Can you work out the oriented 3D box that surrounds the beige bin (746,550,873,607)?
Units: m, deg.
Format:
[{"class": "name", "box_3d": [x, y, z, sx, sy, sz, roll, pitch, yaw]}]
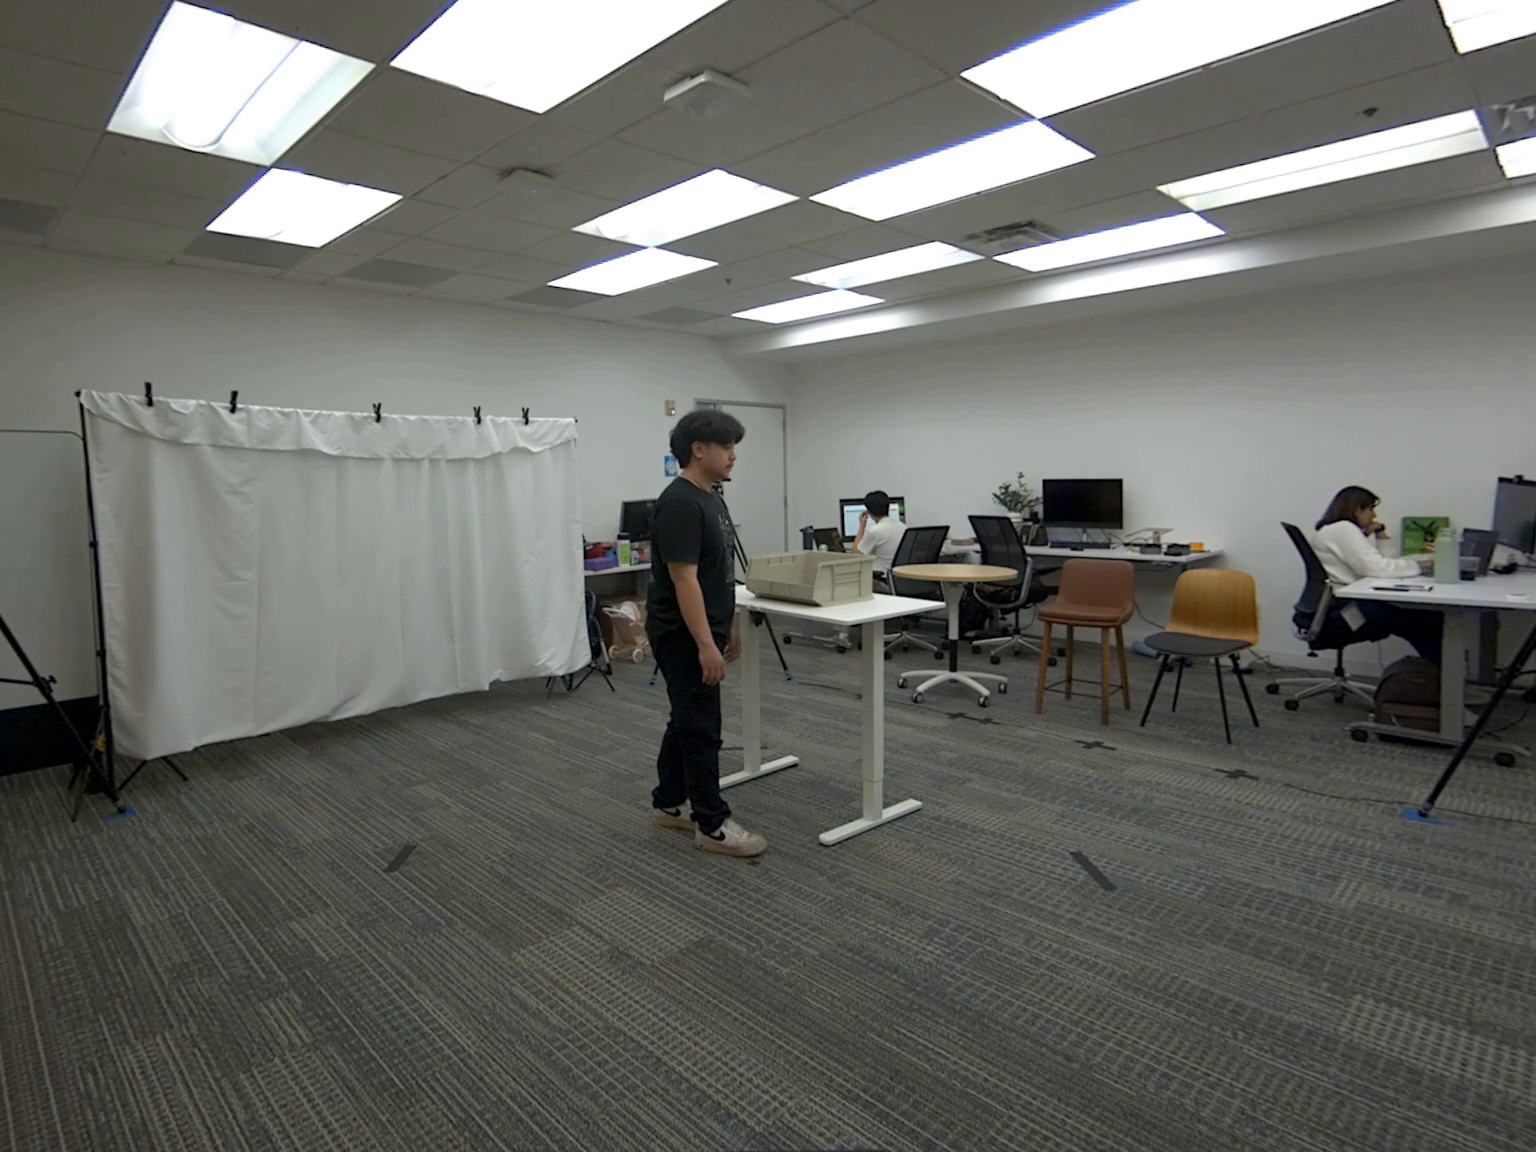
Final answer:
[{"class": "beige bin", "box_3d": [0.180, 0.007, 3.625, 0.367, 0.188, 0.435, -5, 7, -40]}]
